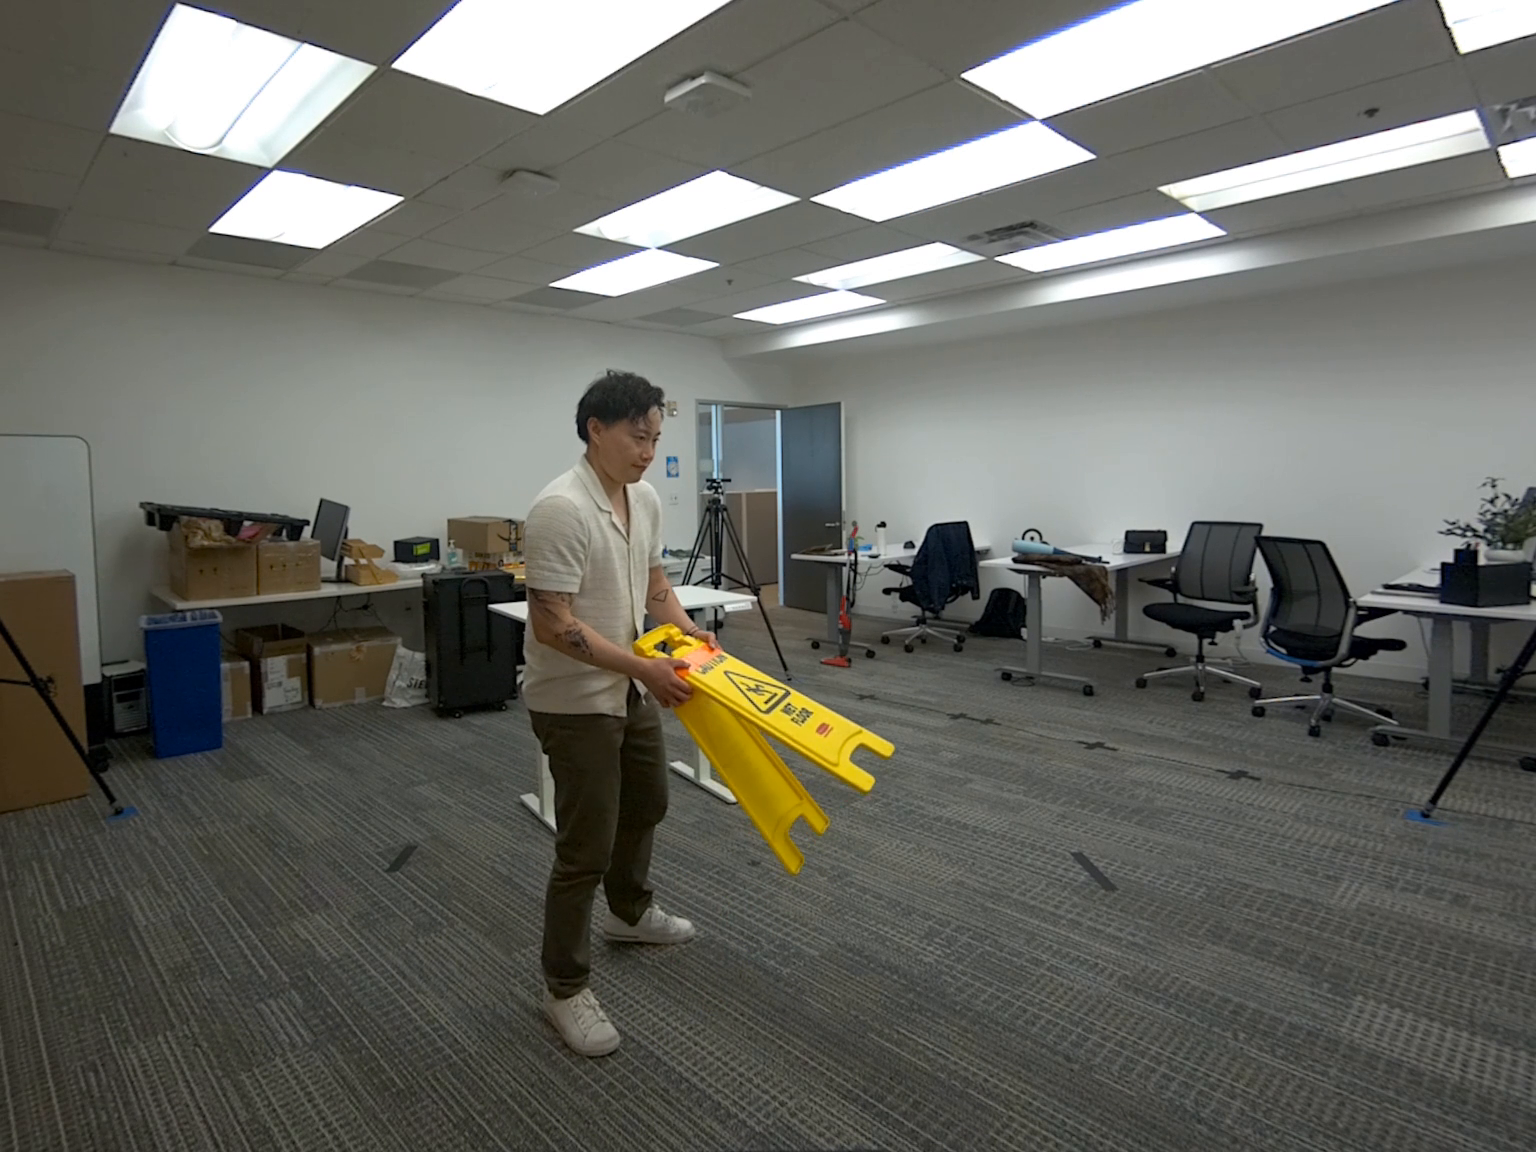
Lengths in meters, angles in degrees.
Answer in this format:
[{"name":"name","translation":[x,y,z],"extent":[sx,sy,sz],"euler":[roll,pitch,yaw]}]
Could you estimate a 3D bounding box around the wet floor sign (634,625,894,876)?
[{"name":"wet floor sign","translation":[-0.051,0.354,2.112],"extent":[0.657,0.288,0.278],"euler":[39,21,12]}]
